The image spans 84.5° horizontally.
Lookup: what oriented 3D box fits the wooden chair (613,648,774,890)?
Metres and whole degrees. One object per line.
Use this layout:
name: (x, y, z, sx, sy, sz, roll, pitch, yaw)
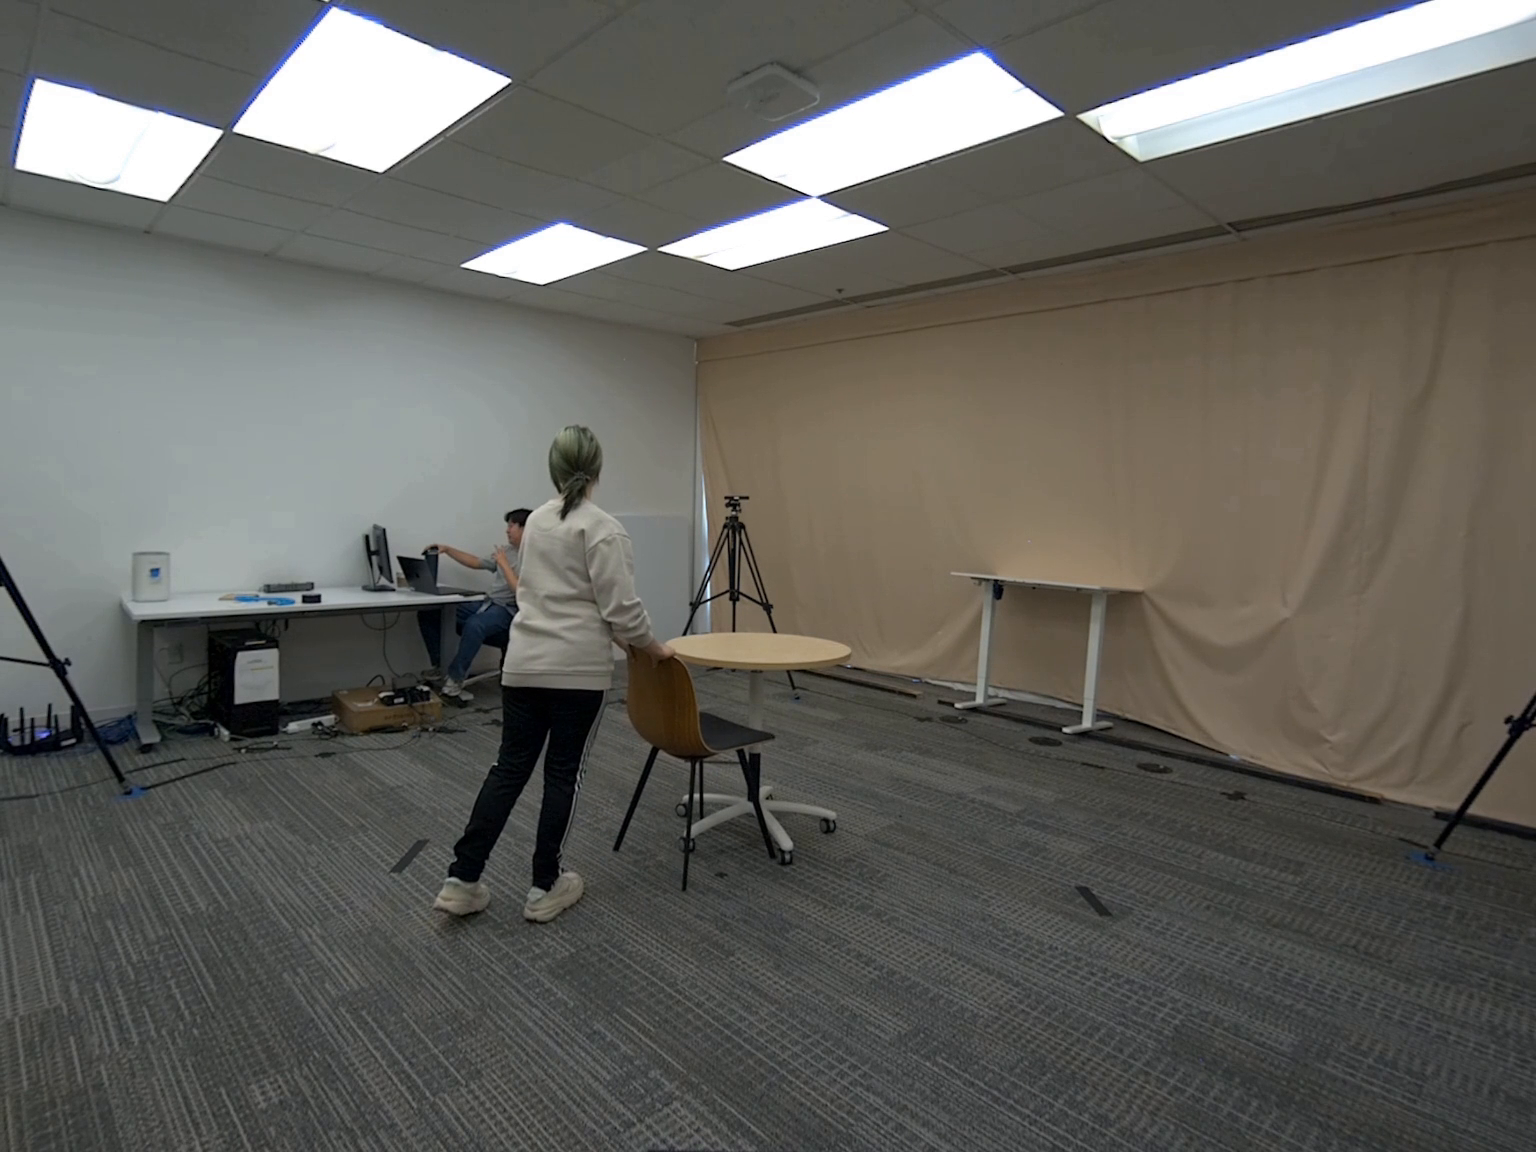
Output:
wooden chair: (-0.275, 0.660, 3.246, 0.512, 0.874, 0.490, -7, 7, -41)
